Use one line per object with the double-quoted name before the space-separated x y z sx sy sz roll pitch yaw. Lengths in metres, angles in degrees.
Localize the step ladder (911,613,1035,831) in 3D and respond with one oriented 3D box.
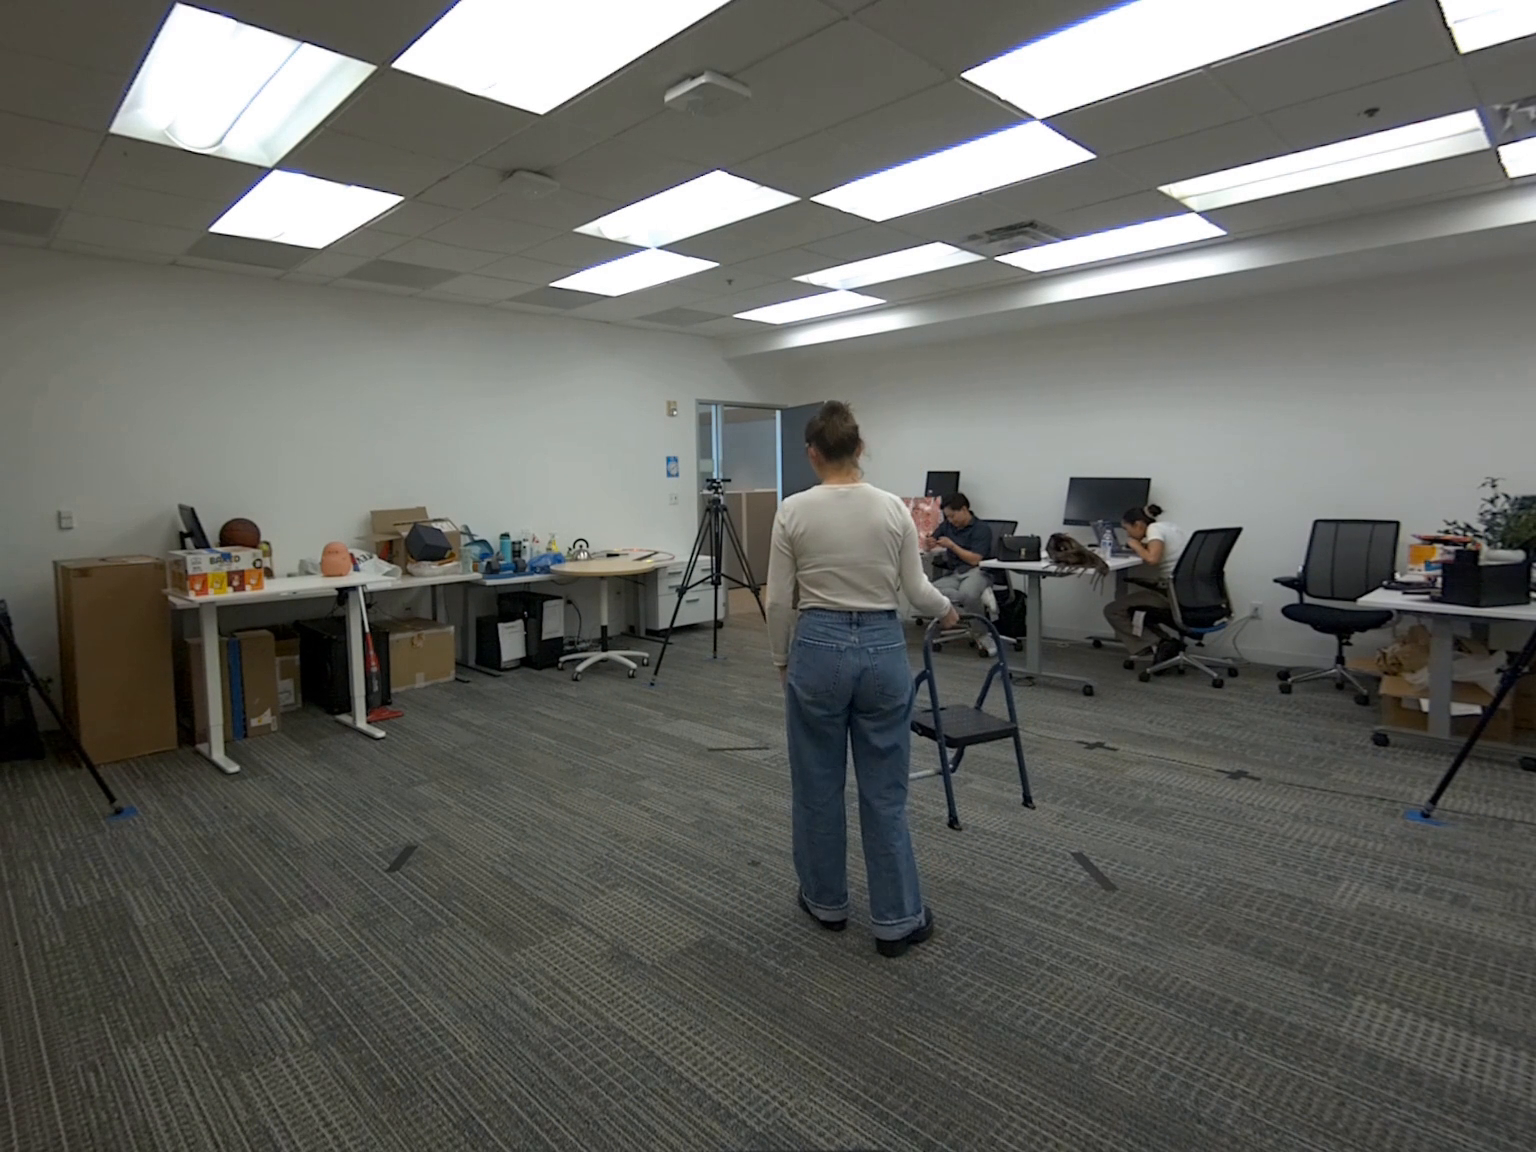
"step ladder" 0.662 0.446 2.815 0.418 0.603 0.361 1 8 -40
